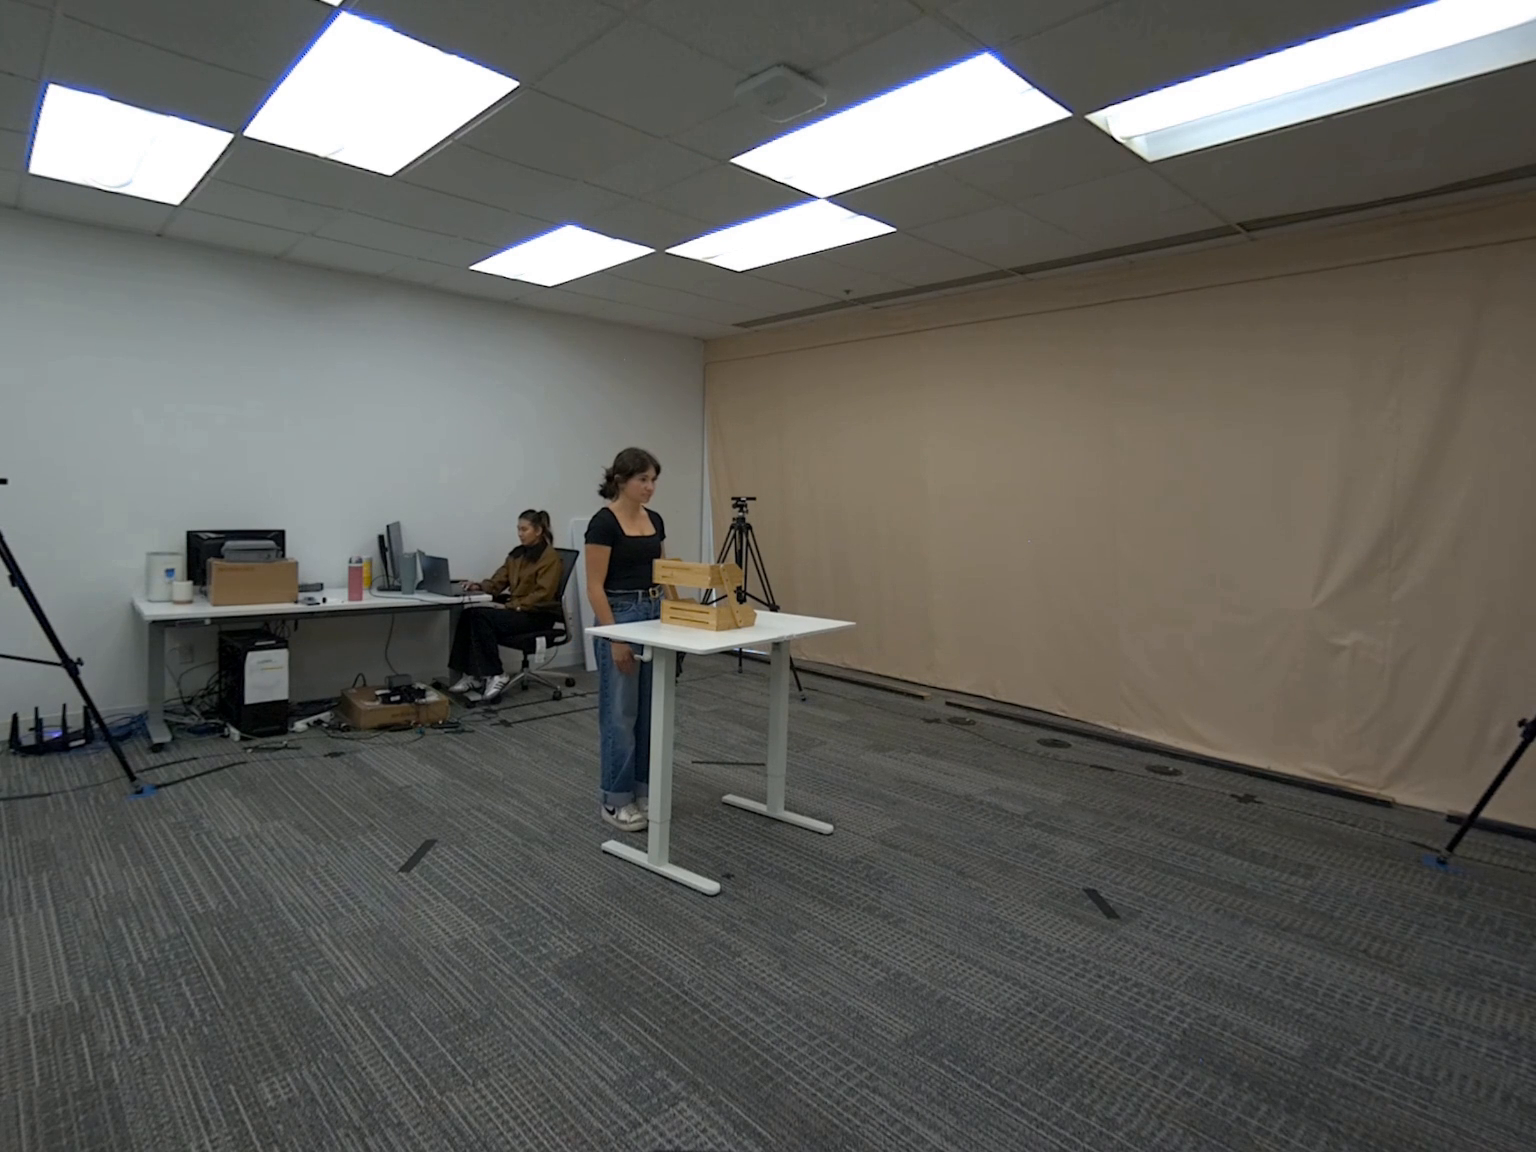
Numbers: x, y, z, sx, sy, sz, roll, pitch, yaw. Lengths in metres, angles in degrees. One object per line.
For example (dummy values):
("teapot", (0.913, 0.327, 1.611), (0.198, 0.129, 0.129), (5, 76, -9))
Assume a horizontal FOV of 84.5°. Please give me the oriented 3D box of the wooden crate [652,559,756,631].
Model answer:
("wooden crate", (-0.259, 0.063, 3.388), (0.332, 0.272, 0.295), (5, 6, 37))
